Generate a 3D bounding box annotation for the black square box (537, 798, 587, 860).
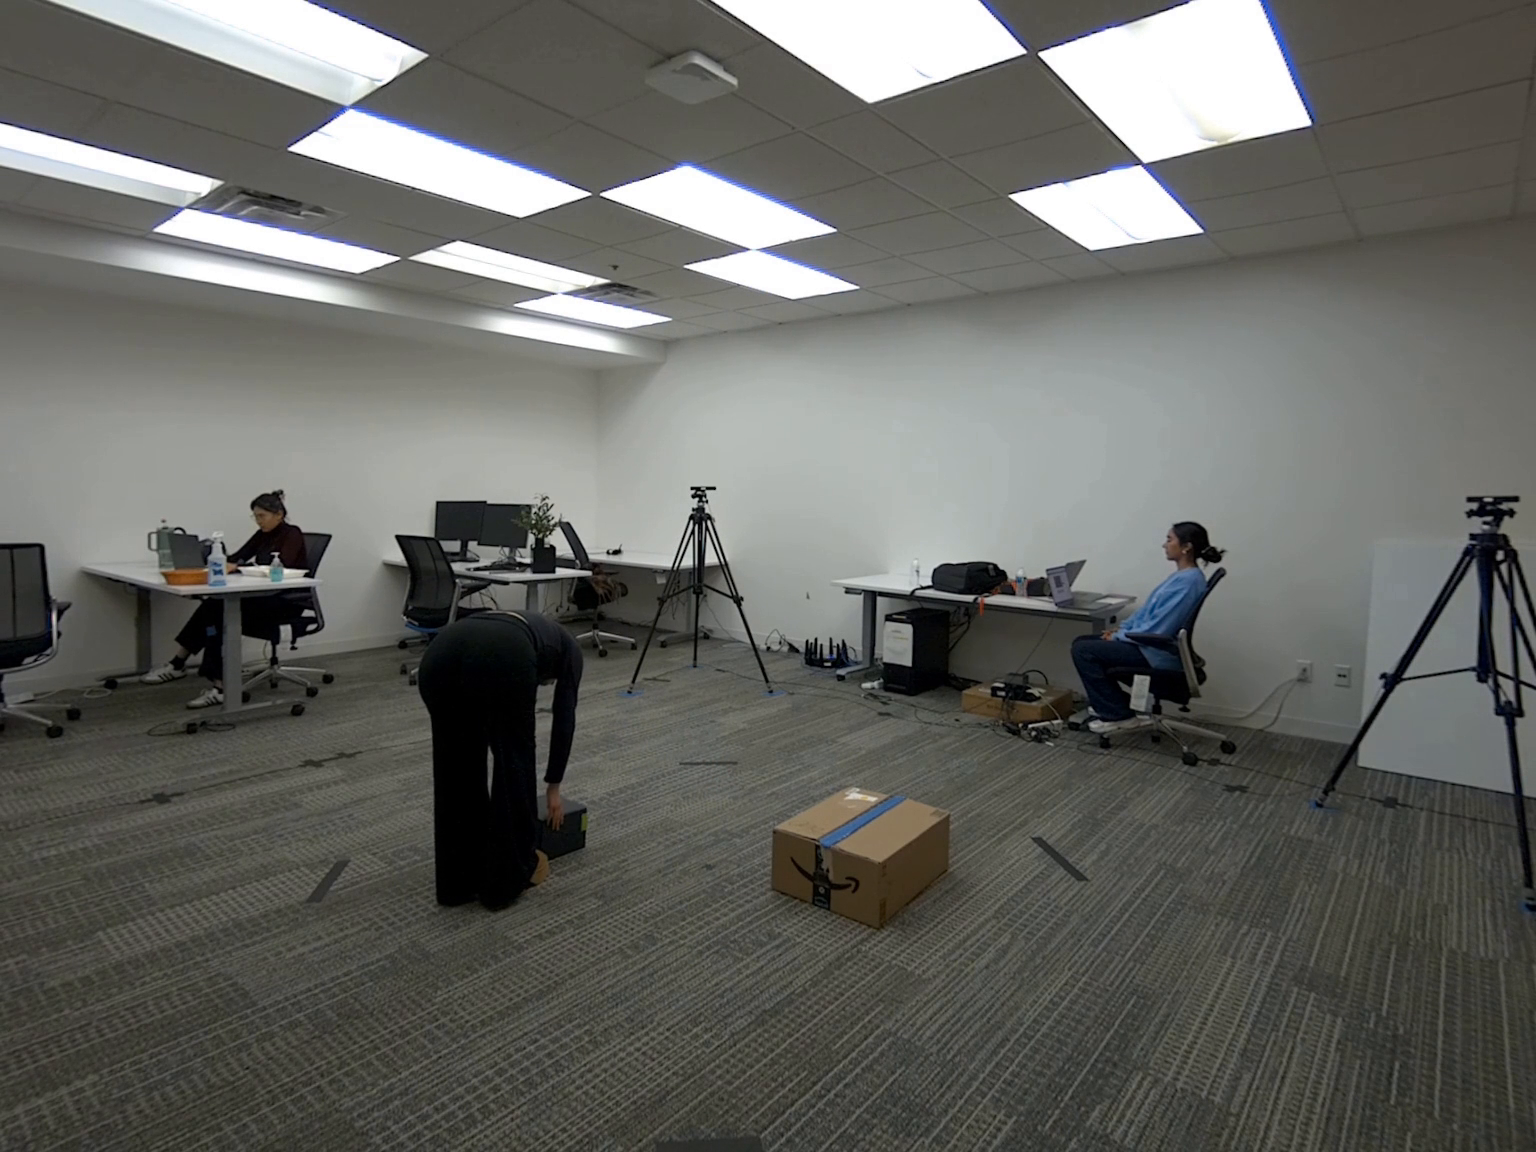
[{"bbox_3d":[-0.858,0.951,3.259,0.235,0.155,0.210,5,4,40],"label":"black square box"}]
